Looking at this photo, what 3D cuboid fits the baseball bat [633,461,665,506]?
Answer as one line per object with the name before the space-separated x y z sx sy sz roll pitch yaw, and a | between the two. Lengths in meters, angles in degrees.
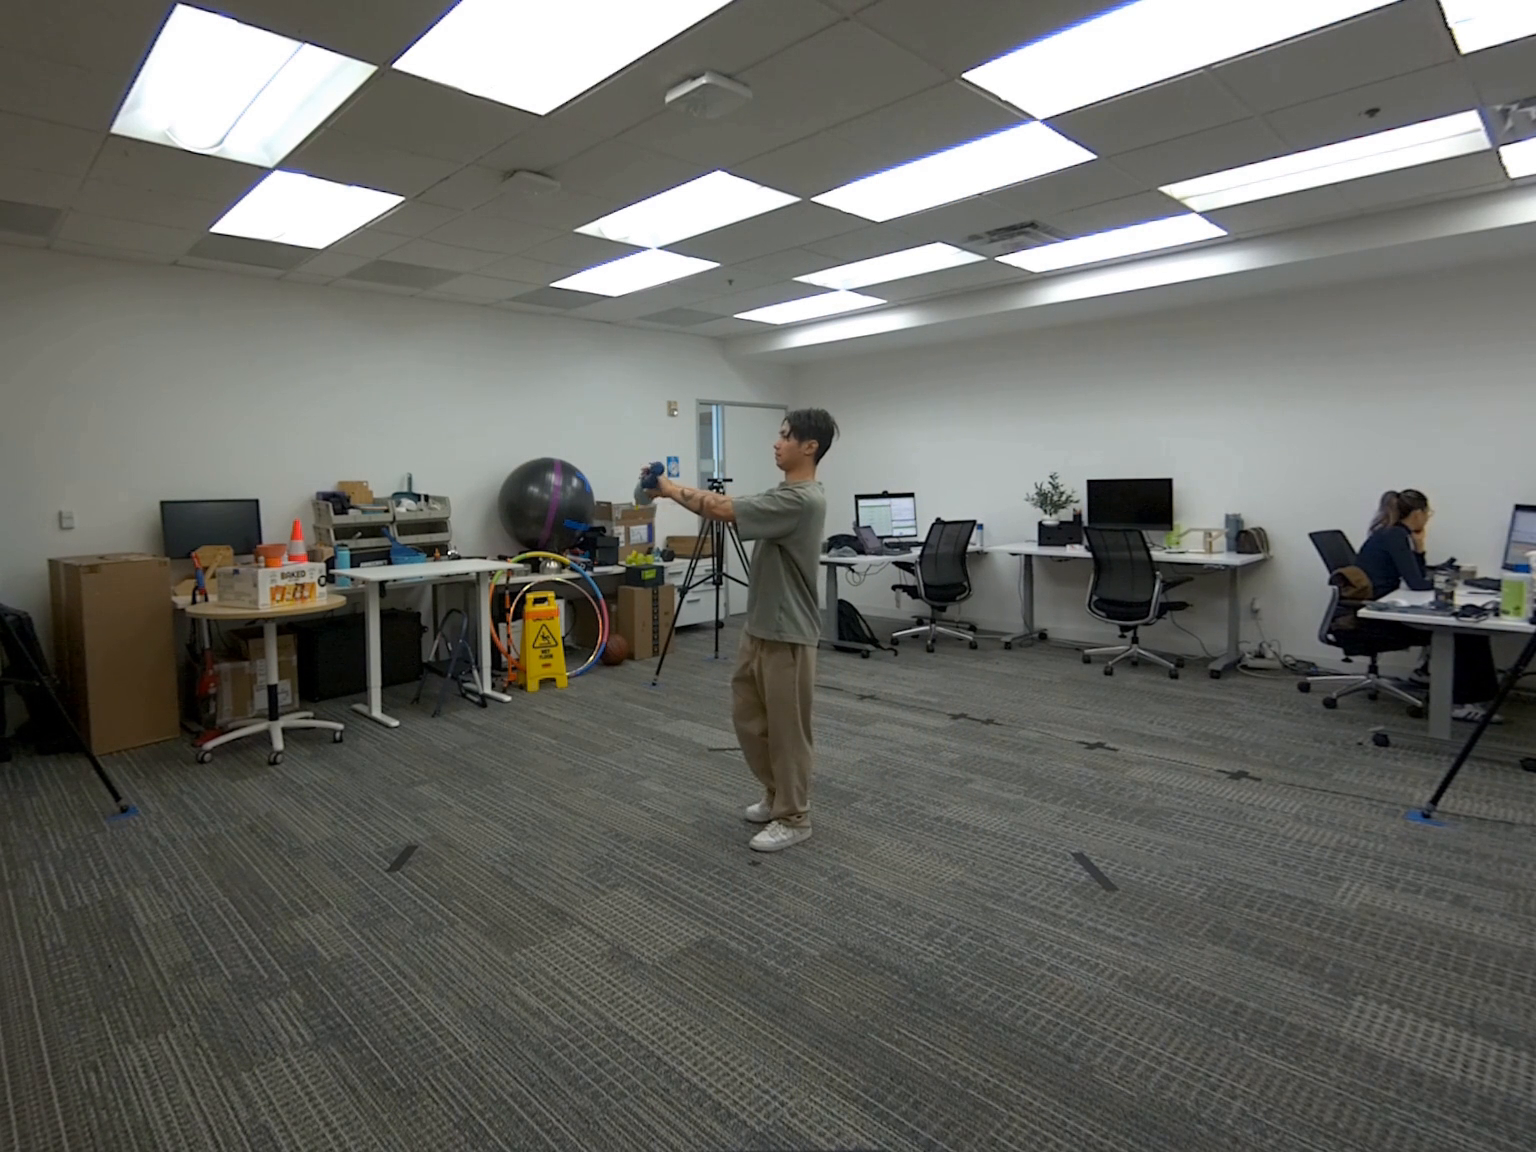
baseball bat | -0.449 -0.355 3.209 0.088 0.089 0.544 -2 -5 -11
